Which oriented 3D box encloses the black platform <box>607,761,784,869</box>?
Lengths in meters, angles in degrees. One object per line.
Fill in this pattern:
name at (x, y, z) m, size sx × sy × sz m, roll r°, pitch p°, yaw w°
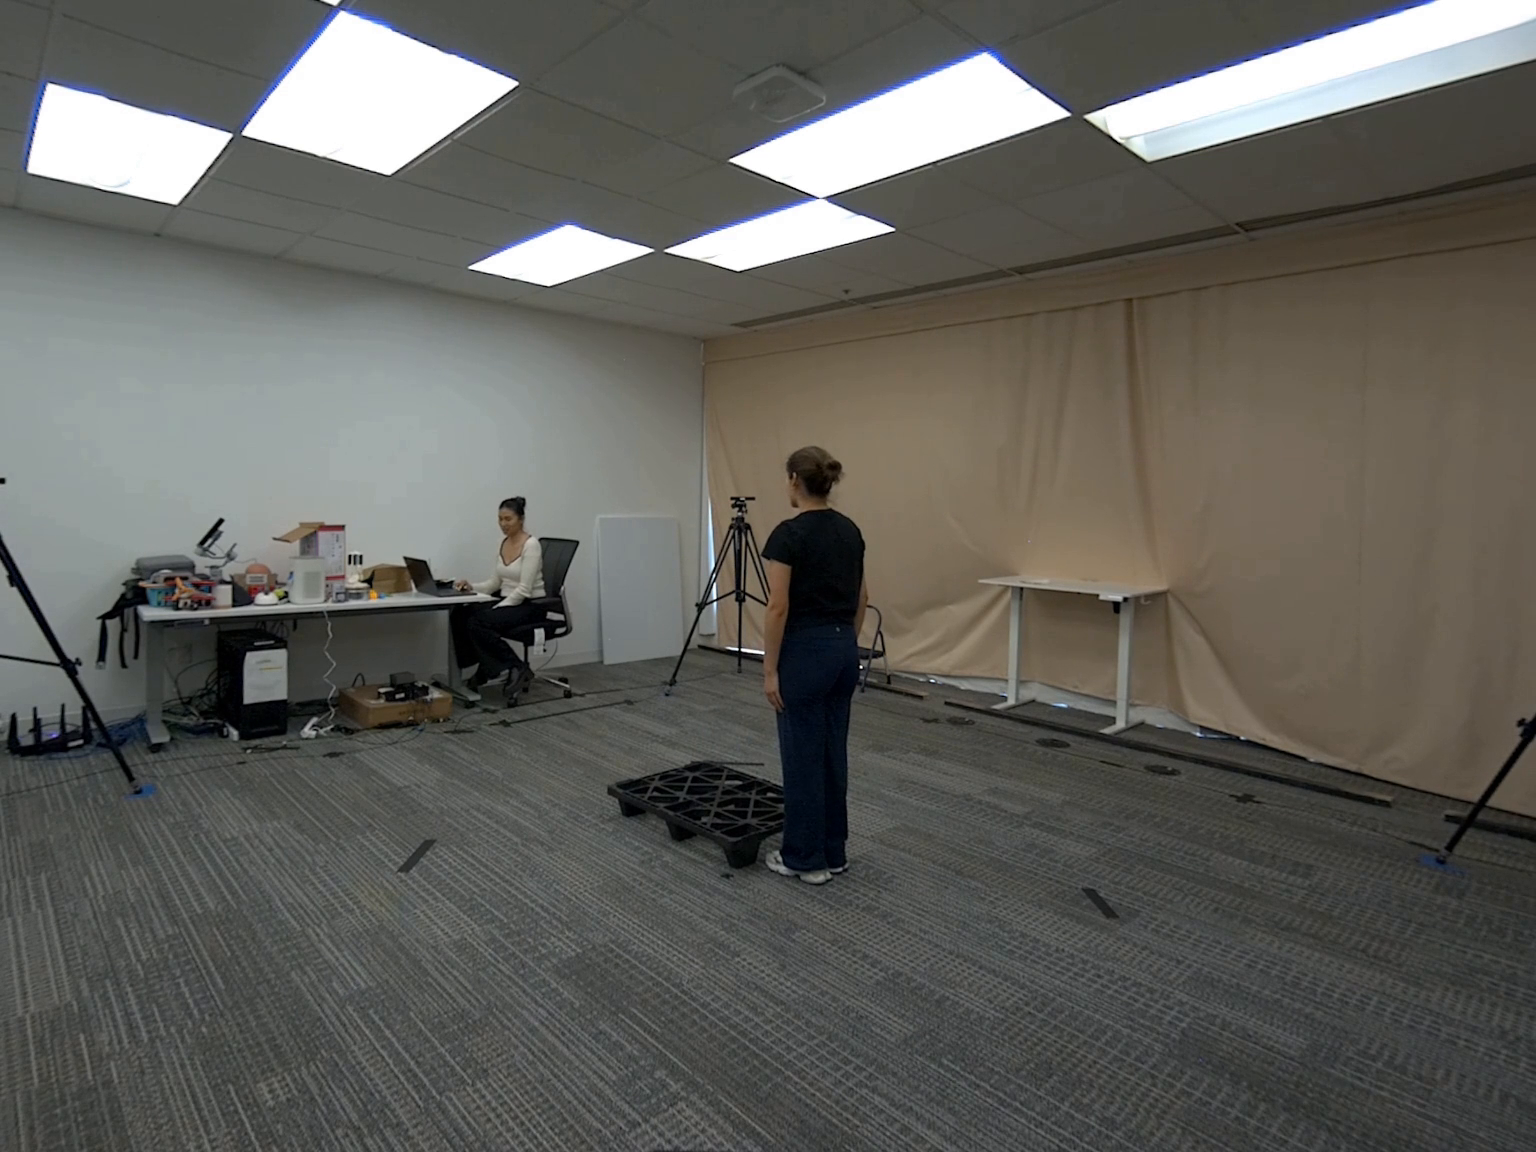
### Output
black platform at (-0.221, 1.001, 3.562) m, size 0.591 × 0.143 × 0.826 m, roll -5°, pitch 7°, yaw -45°
